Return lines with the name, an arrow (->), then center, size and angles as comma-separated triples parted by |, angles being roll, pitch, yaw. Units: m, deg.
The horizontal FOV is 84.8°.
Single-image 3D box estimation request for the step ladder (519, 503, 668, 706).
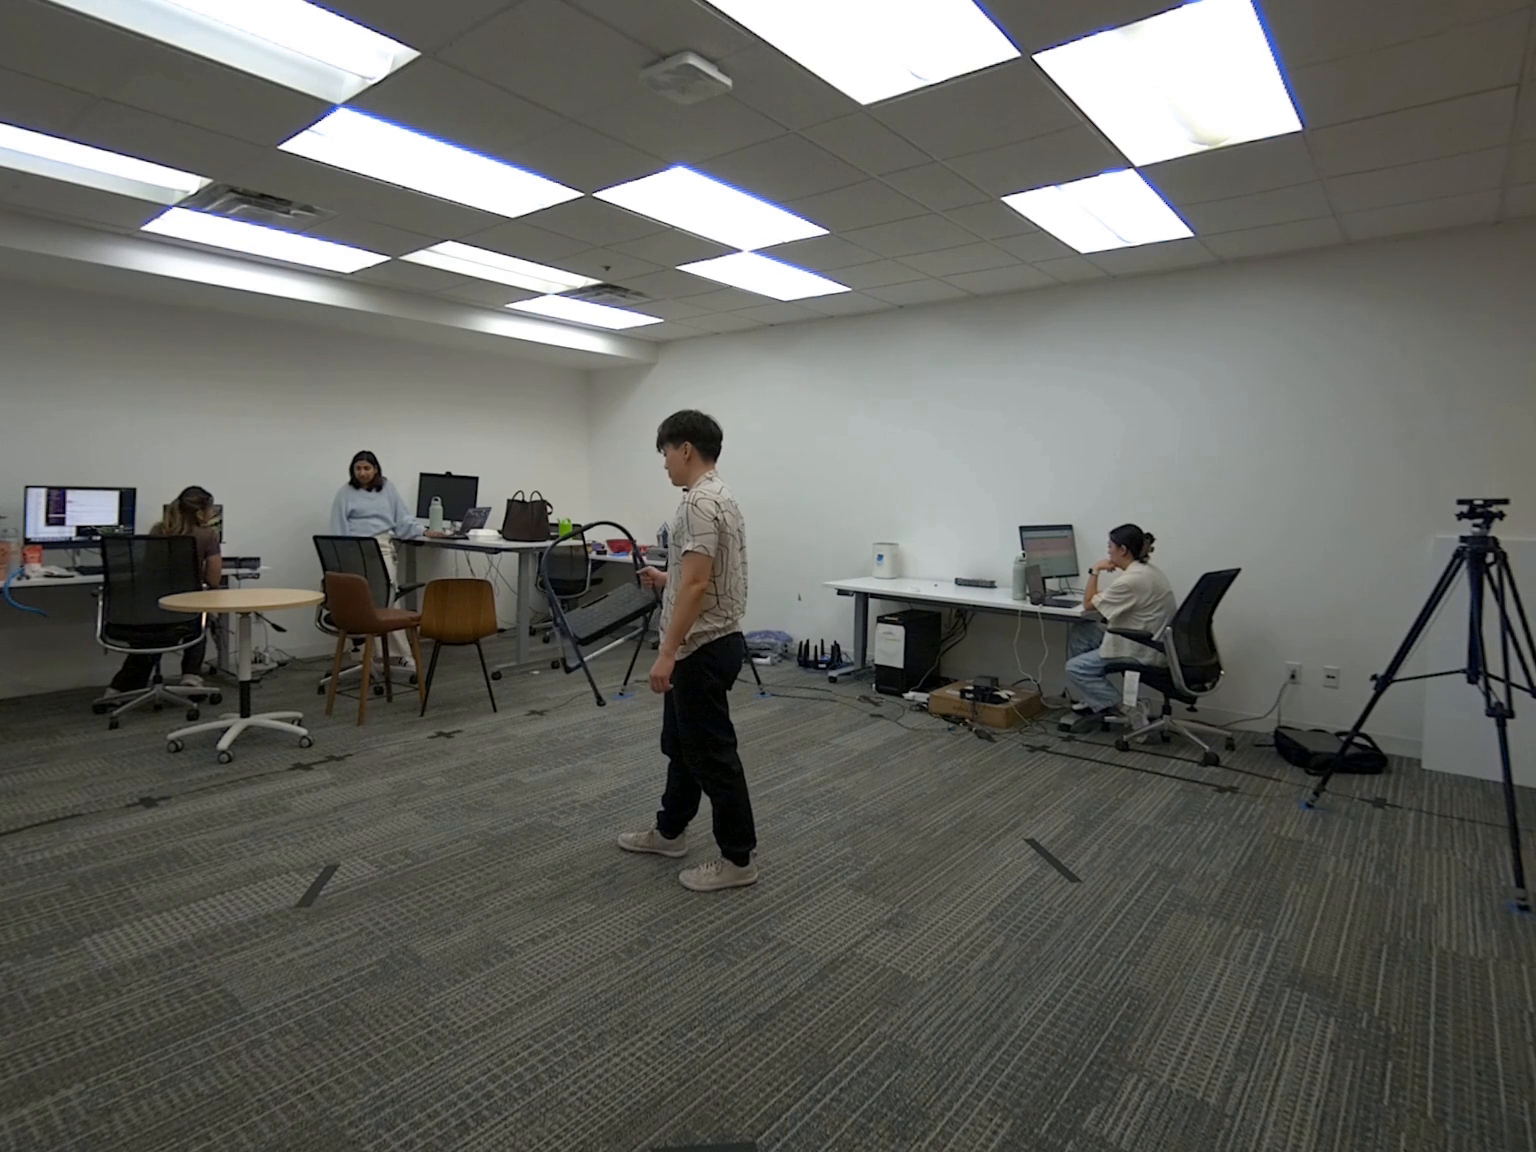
step ladder -> -0.651, 0.098, 3.370 | 0.425, 0.590, 0.363 | -26, 29, -28
